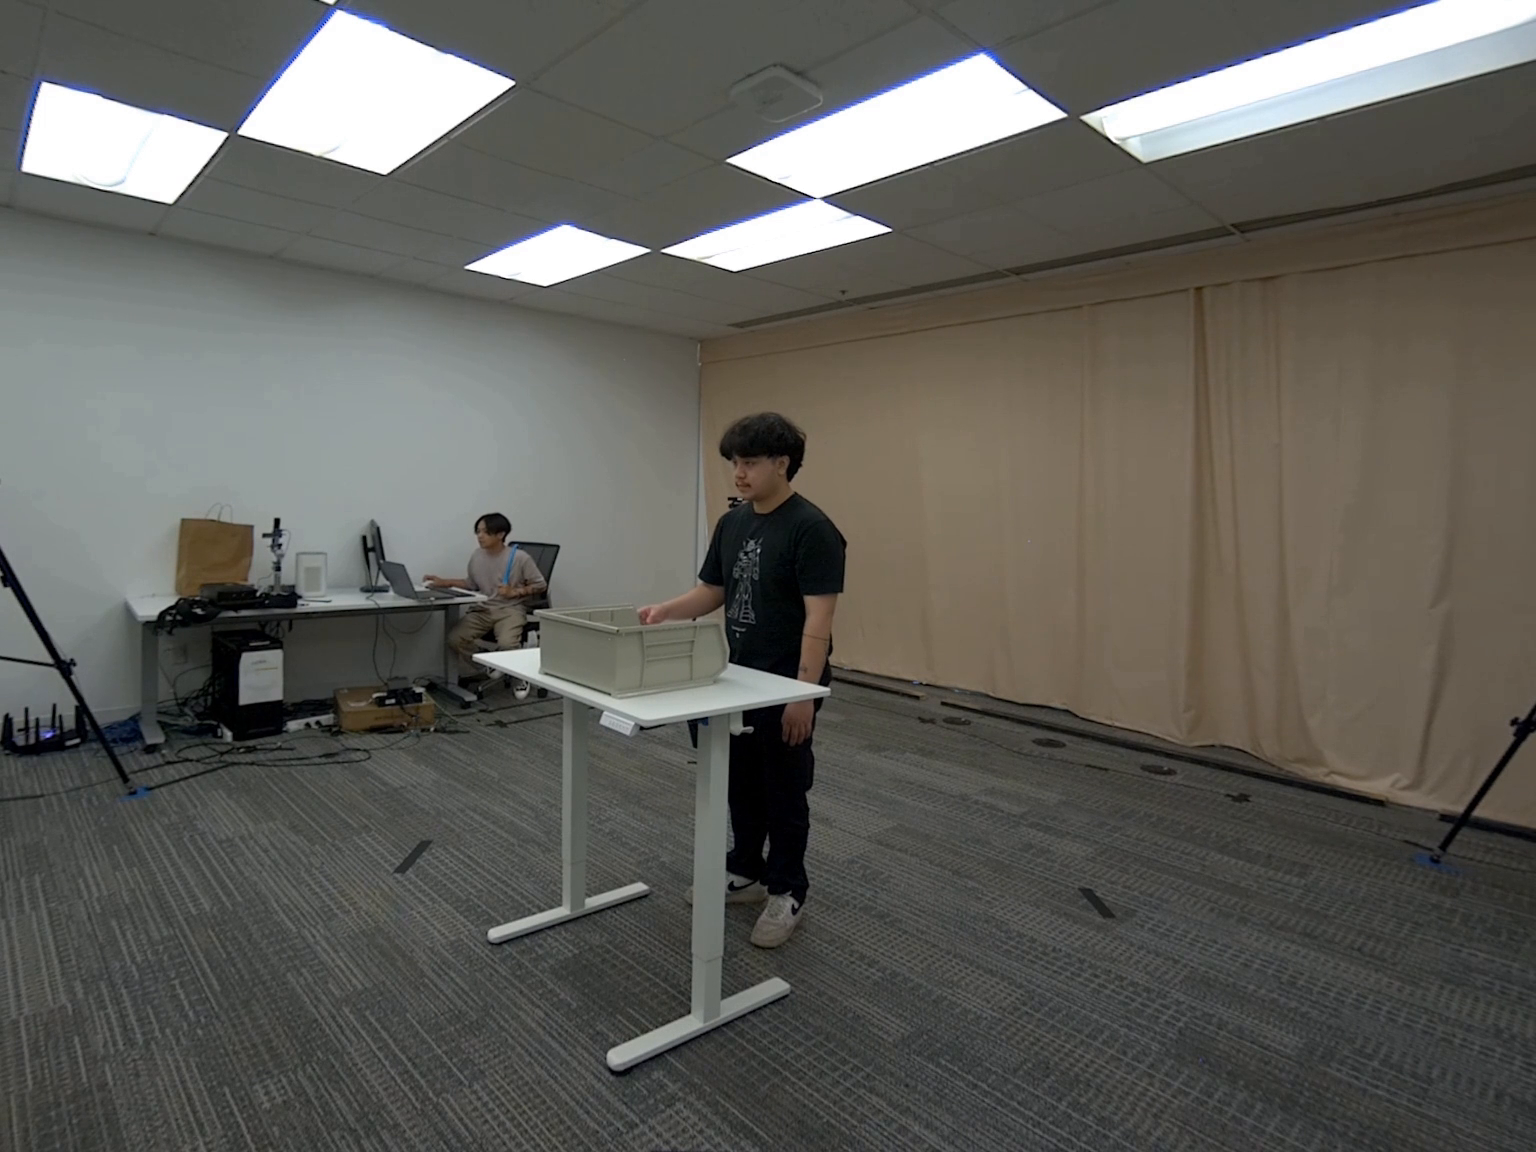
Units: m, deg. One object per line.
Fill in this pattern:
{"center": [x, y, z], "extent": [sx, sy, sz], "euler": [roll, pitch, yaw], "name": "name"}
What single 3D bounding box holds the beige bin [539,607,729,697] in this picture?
{"center": [-0.390, 0.201, 2.351], "extent": [0.369, 0.188, 0.433], "euler": [-3, 6, -42], "name": "beige bin"}
